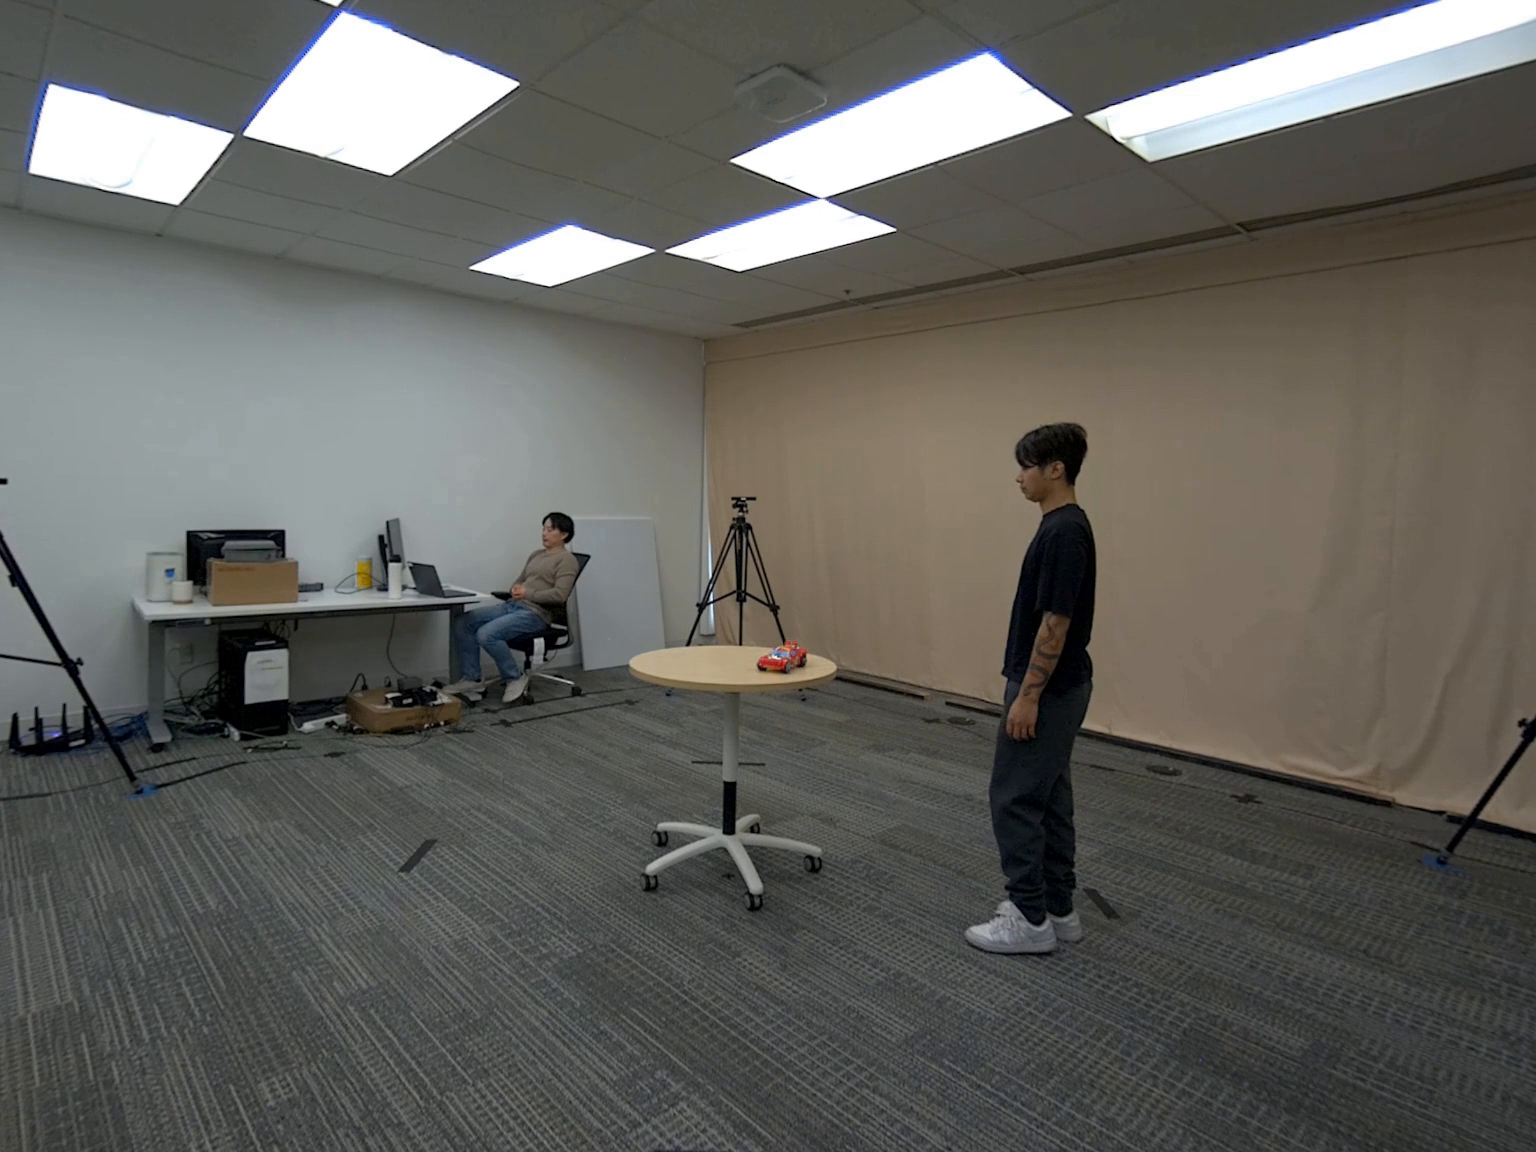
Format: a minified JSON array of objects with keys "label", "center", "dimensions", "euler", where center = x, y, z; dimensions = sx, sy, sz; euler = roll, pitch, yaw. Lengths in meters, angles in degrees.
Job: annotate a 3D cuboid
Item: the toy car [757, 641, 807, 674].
[{"label":"toy car","center":[0.058,0.299,3.038],"dimensions":[0.133,0.082,0.252],"euler":[3,16,24]}]
